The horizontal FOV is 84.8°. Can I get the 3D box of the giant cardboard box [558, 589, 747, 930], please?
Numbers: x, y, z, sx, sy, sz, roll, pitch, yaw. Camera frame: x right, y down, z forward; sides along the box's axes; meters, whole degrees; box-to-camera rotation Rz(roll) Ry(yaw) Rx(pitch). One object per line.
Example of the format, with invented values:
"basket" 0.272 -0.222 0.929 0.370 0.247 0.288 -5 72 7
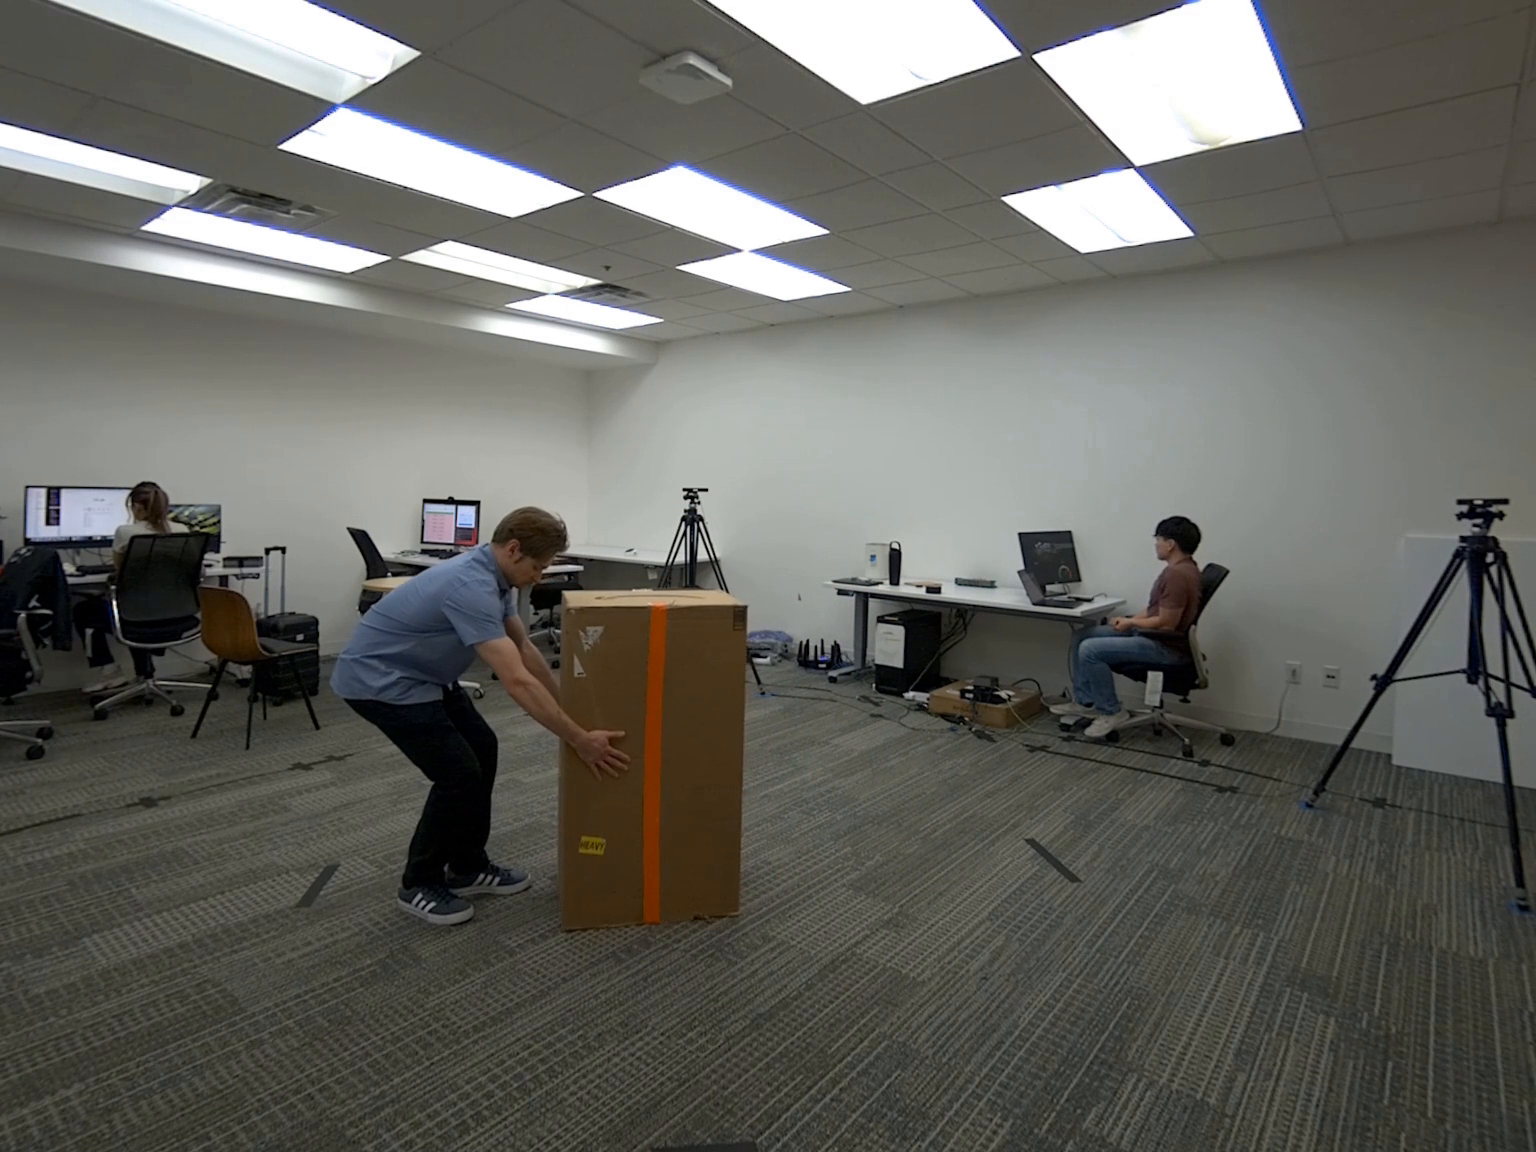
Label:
"giant cardboard box" -0.419 0.582 2.882 0.570 1.022 0.433 0 4 -13
